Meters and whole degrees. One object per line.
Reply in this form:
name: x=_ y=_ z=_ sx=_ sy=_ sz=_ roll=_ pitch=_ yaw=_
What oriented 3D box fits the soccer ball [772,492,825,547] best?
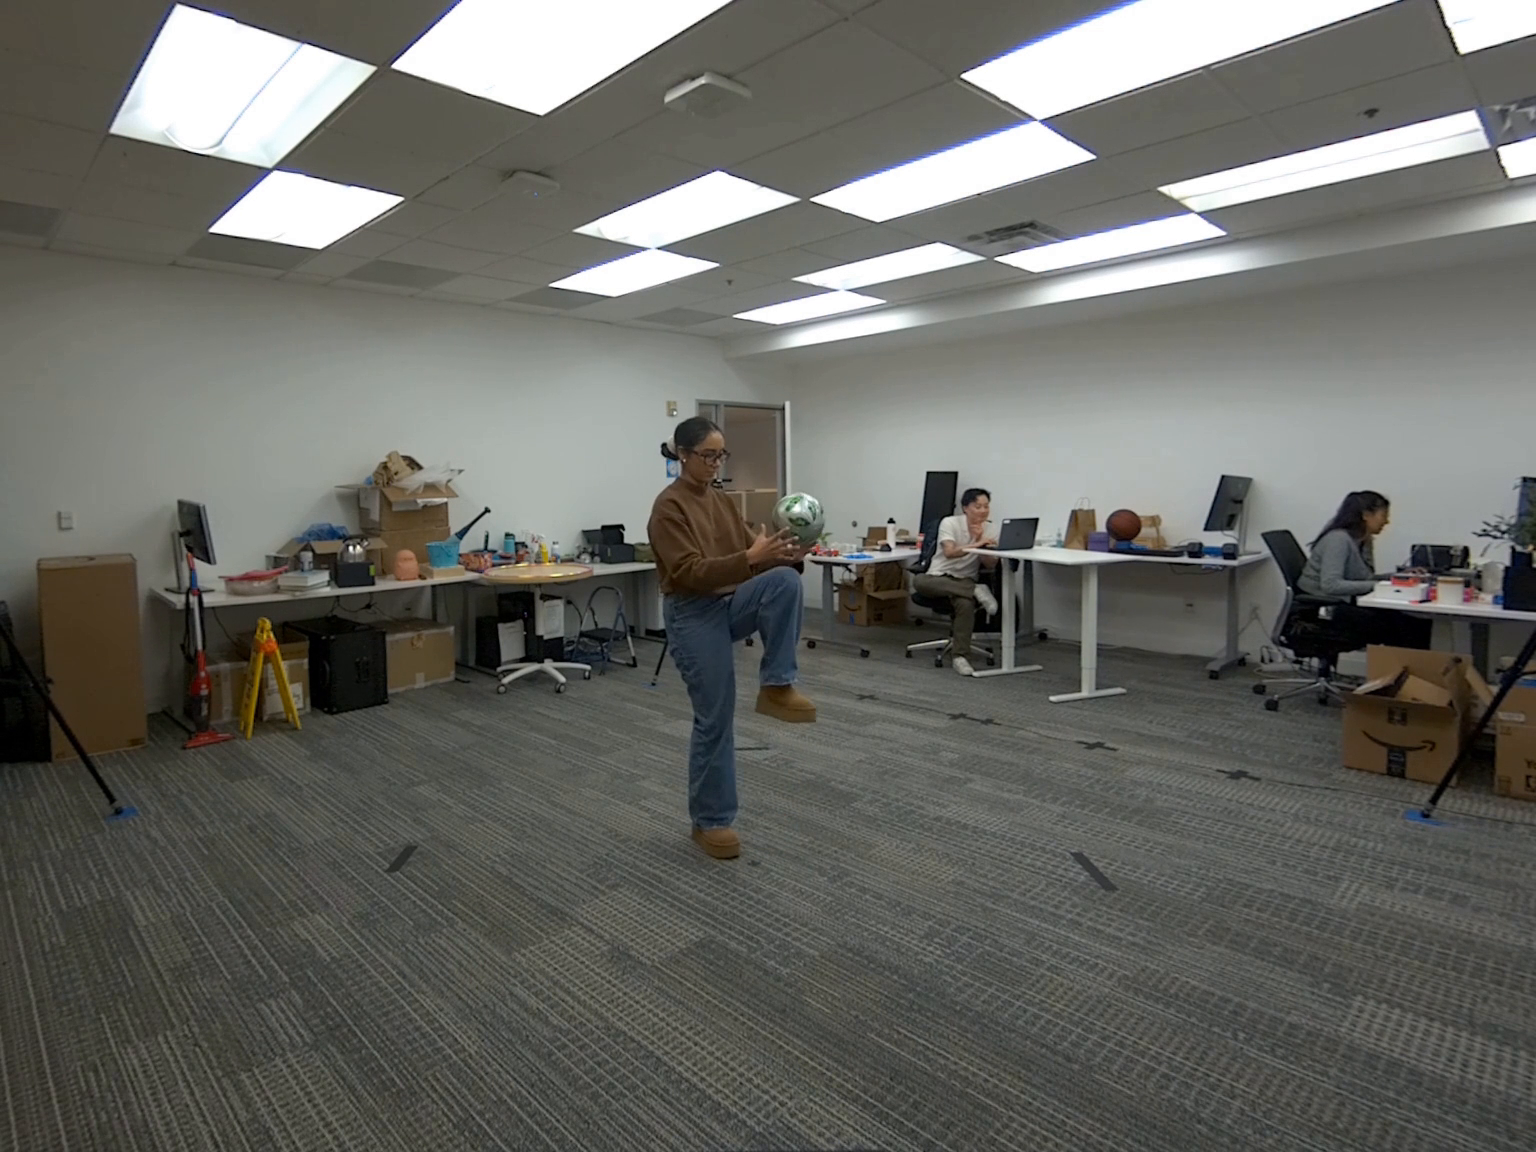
soccer ball: x=0.110 y=-0.183 z=3.017 sx=0.187 sy=0.187 sz=0.188 roll=-1 pitch=5 yaw=-2
